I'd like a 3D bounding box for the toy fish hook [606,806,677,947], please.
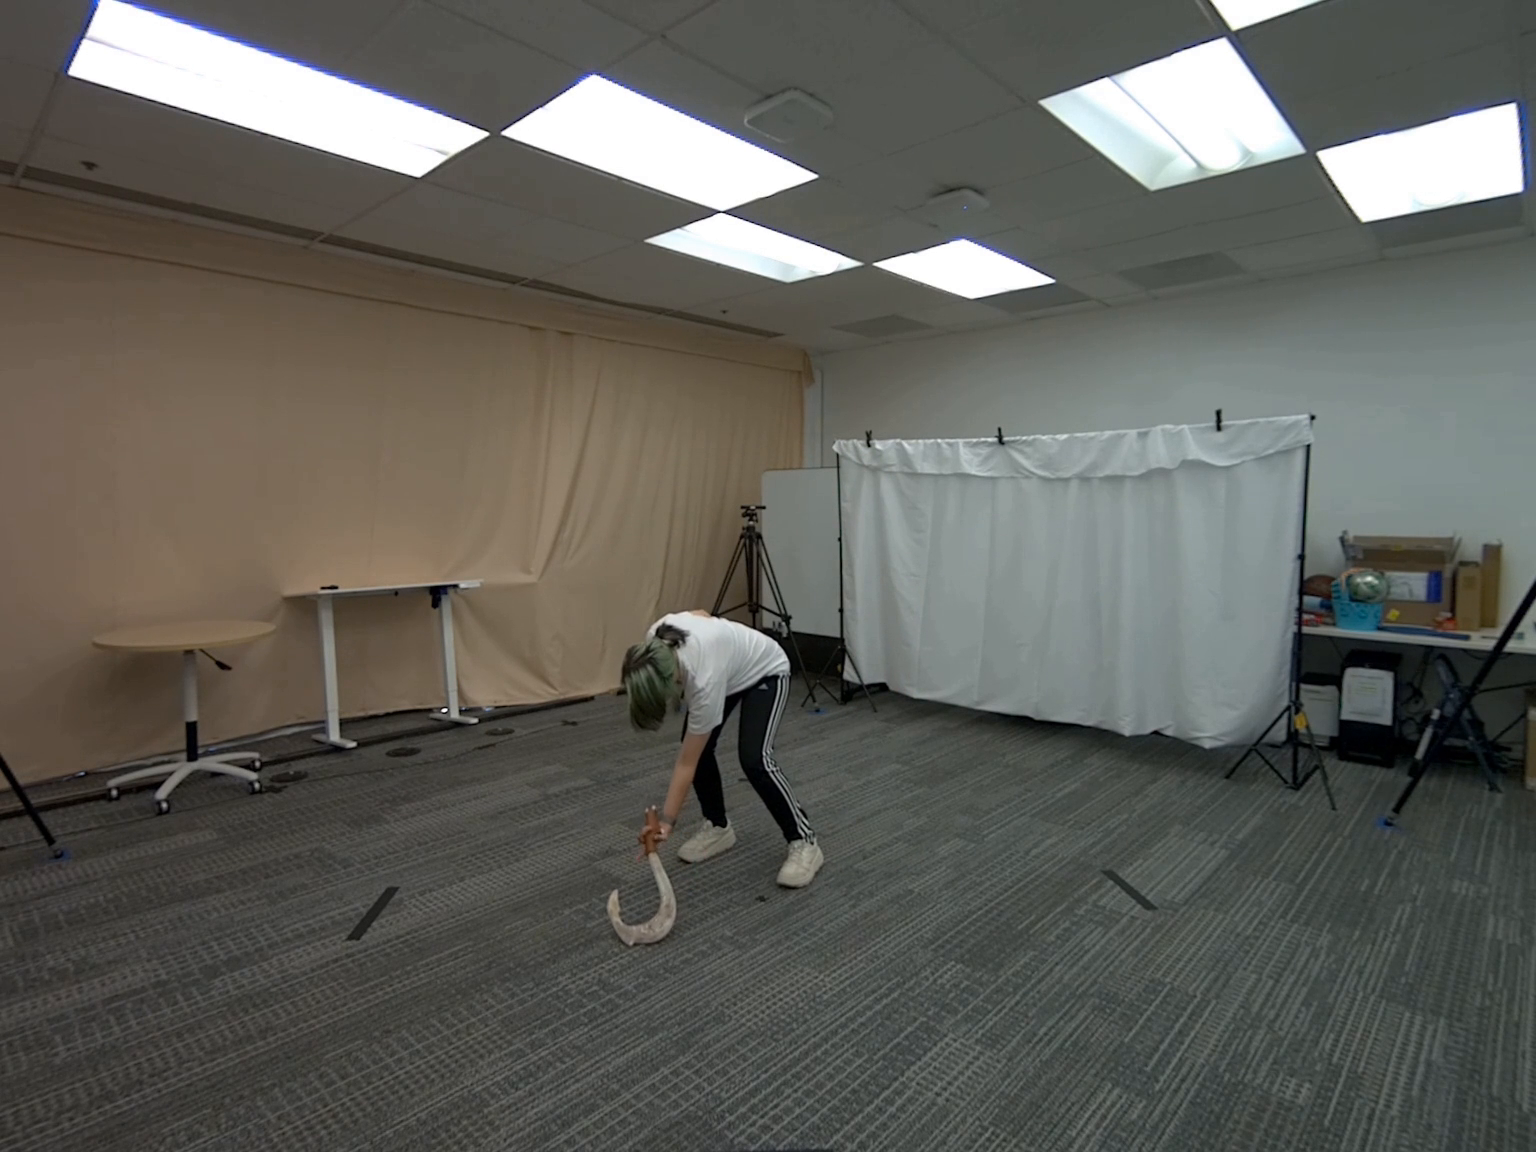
[{"bbox_3d":[-0.439,1.001,2.862,0.224,0.047,0.517,-1,38,-4],"label":"toy fish hook"}]
